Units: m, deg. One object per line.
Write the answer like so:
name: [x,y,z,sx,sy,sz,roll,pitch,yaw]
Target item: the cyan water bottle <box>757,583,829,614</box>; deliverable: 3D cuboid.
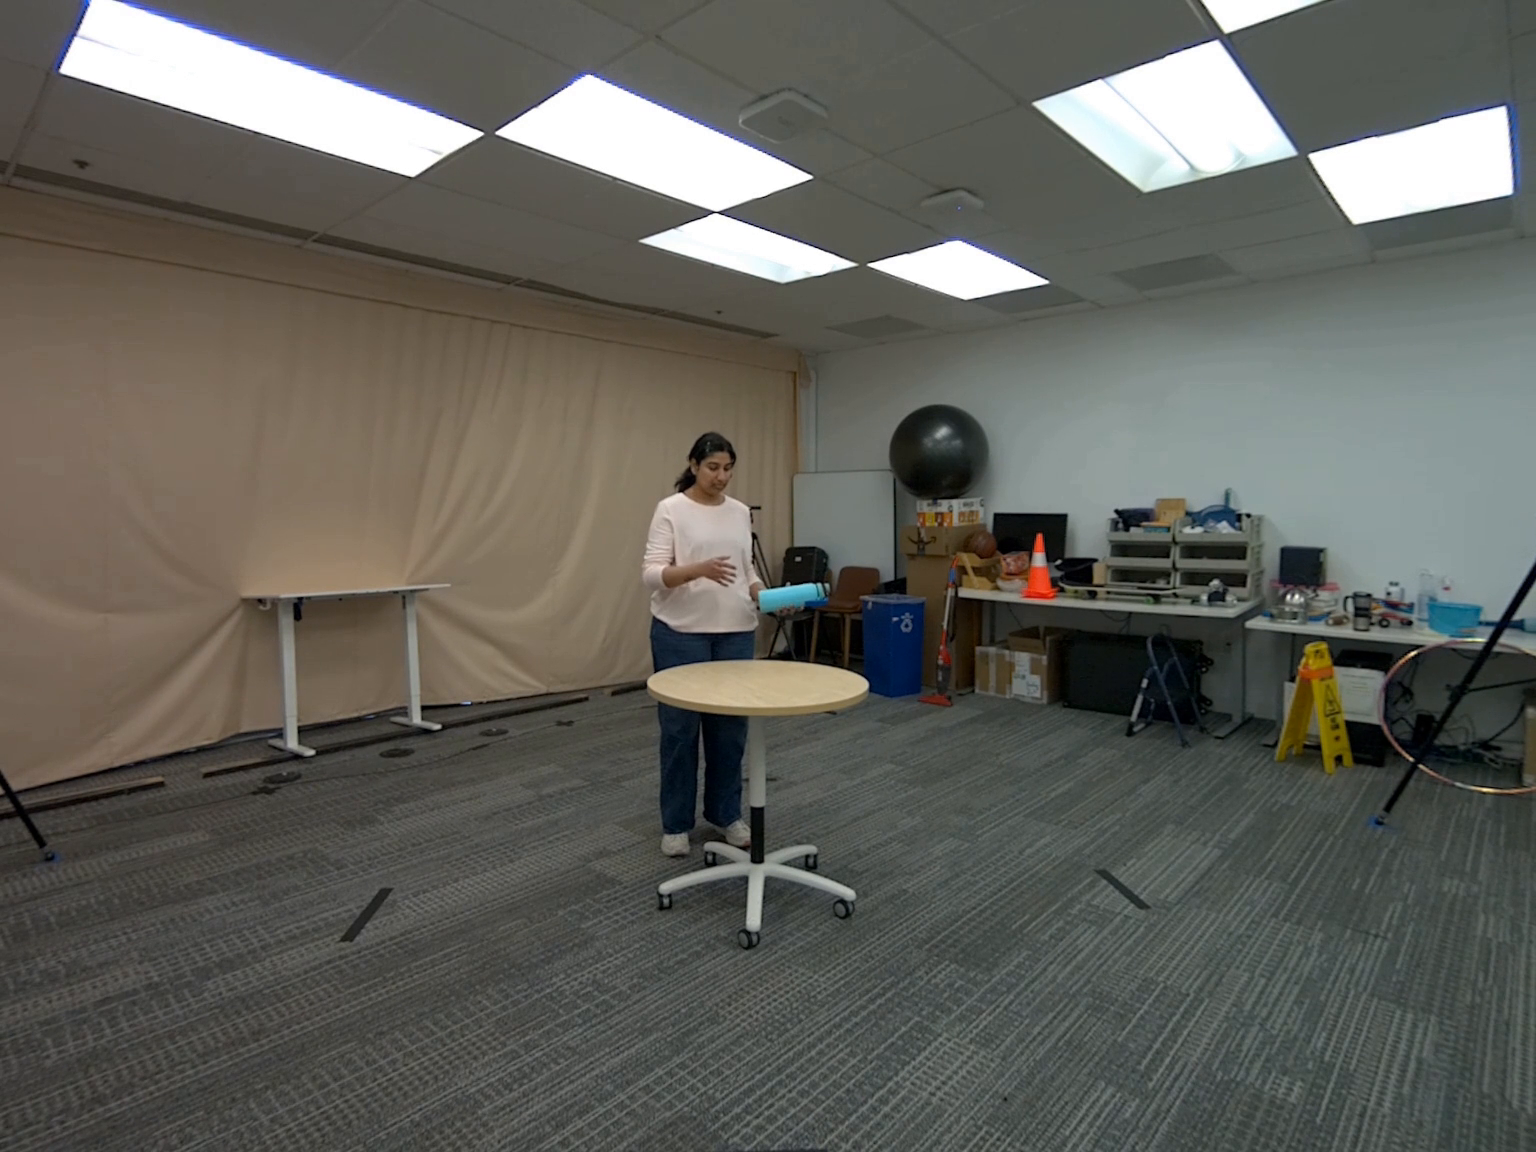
cyan water bottle: [0.114,0.081,3.342,0.285,0.092,0.092,-7,3,6]
